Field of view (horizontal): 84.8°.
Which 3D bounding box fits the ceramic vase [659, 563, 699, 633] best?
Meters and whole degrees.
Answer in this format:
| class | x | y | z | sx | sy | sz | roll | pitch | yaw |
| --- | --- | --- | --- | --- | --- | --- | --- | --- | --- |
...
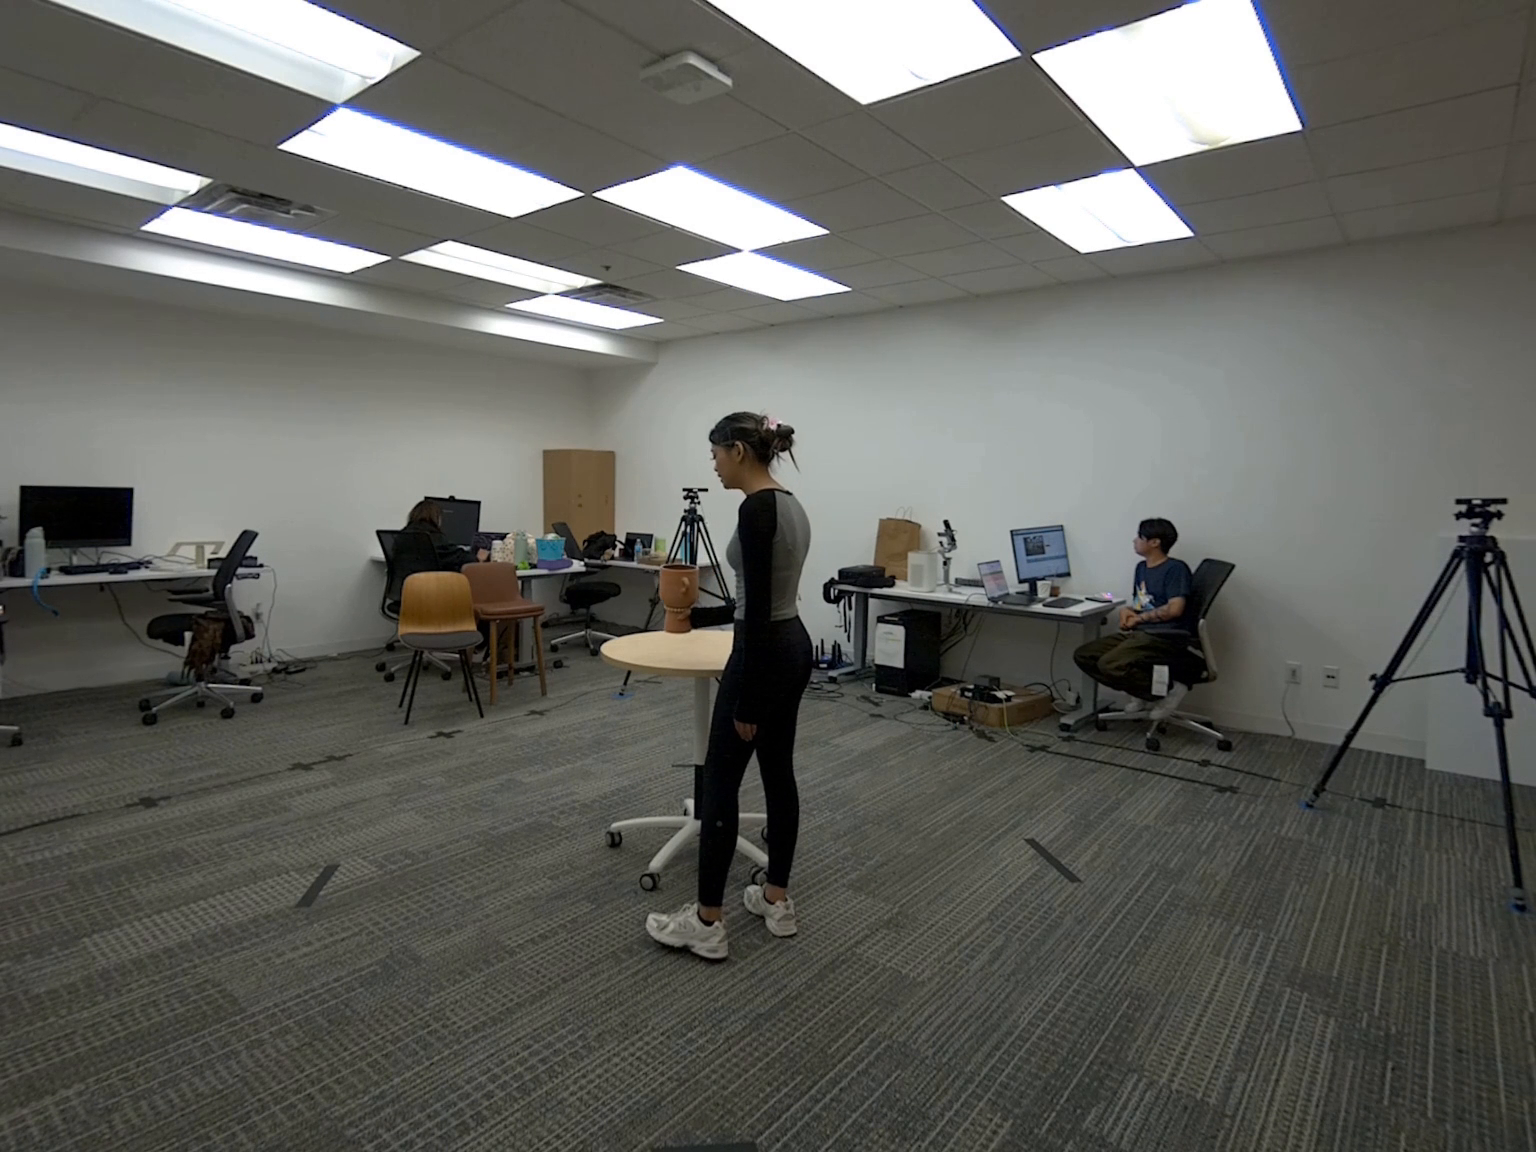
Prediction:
| class | x | y | z | sx | sy | sz | roll | pitch | yaw |
| --- | --- | --- | --- | --- | --- | --- | --- | --- | --- |
| ceramic vase | -0.319 | 0.075 | 2.906 | 0.137 | 0.218 | 0.157 | 4 | 8 | 16 |
